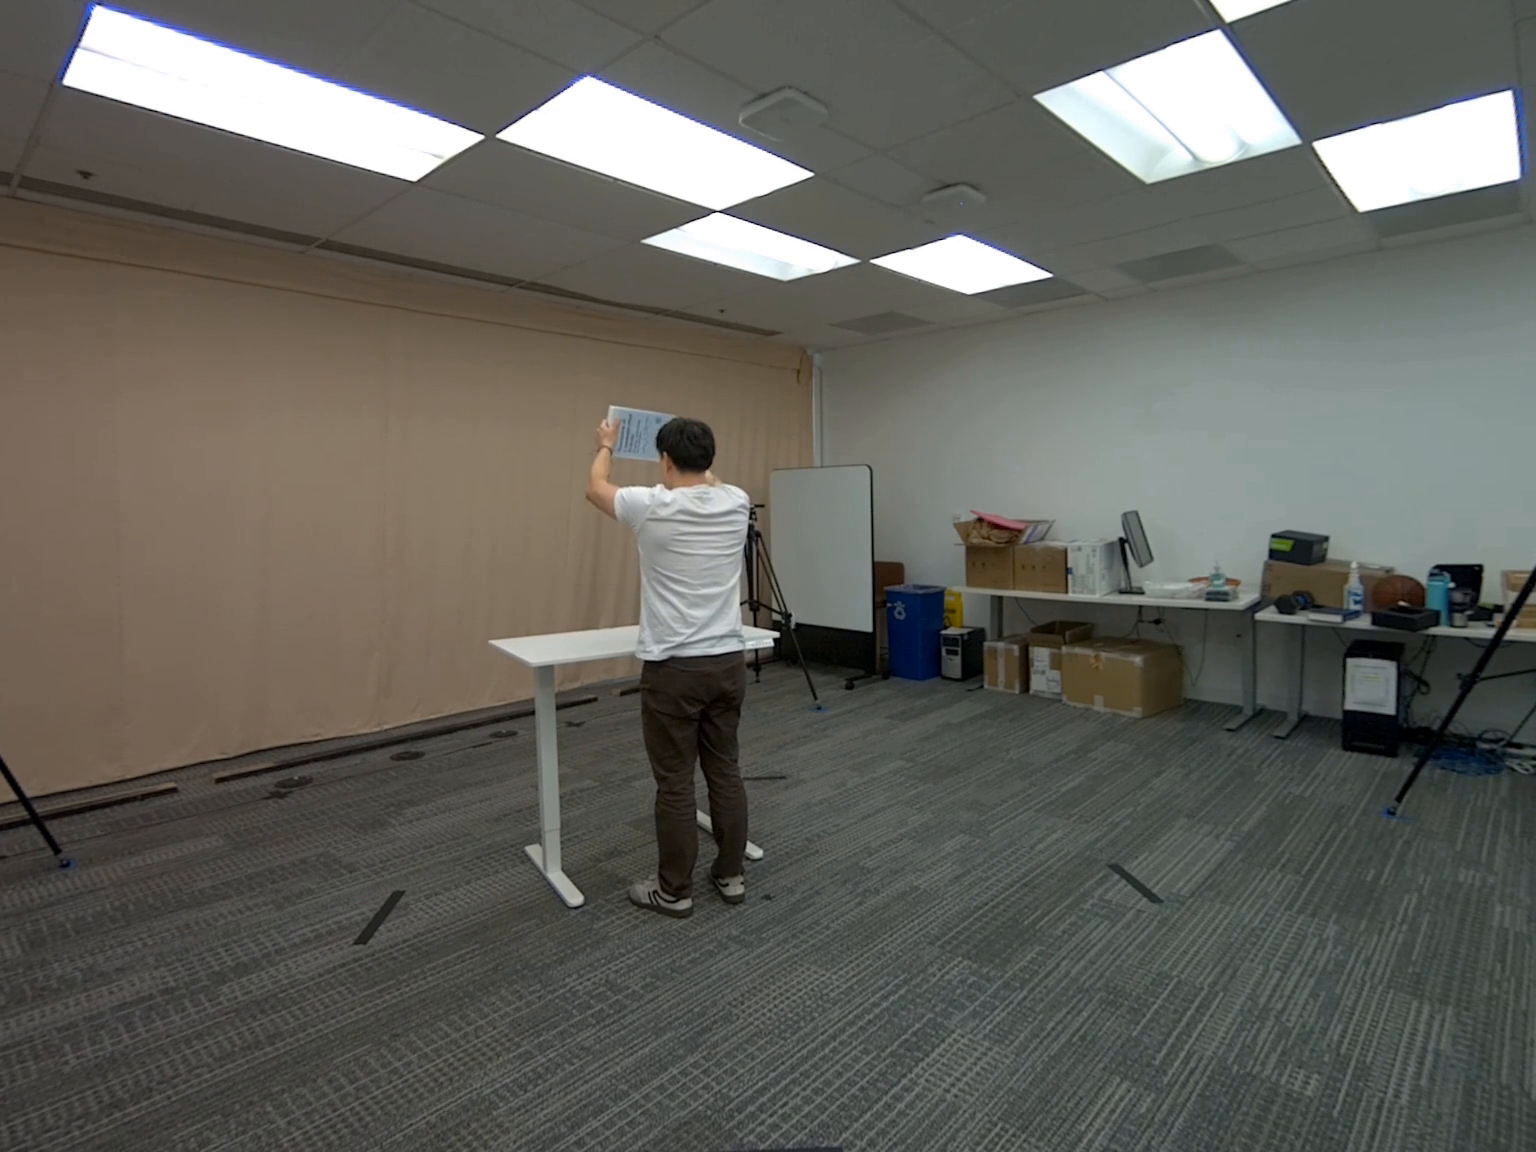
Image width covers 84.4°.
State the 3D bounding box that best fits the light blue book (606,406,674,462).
[{"bbox_3d":[-0.492,-0.541,3.233,0.253,0.191,0.061,3,9,-34],"label":"light blue book"}]
